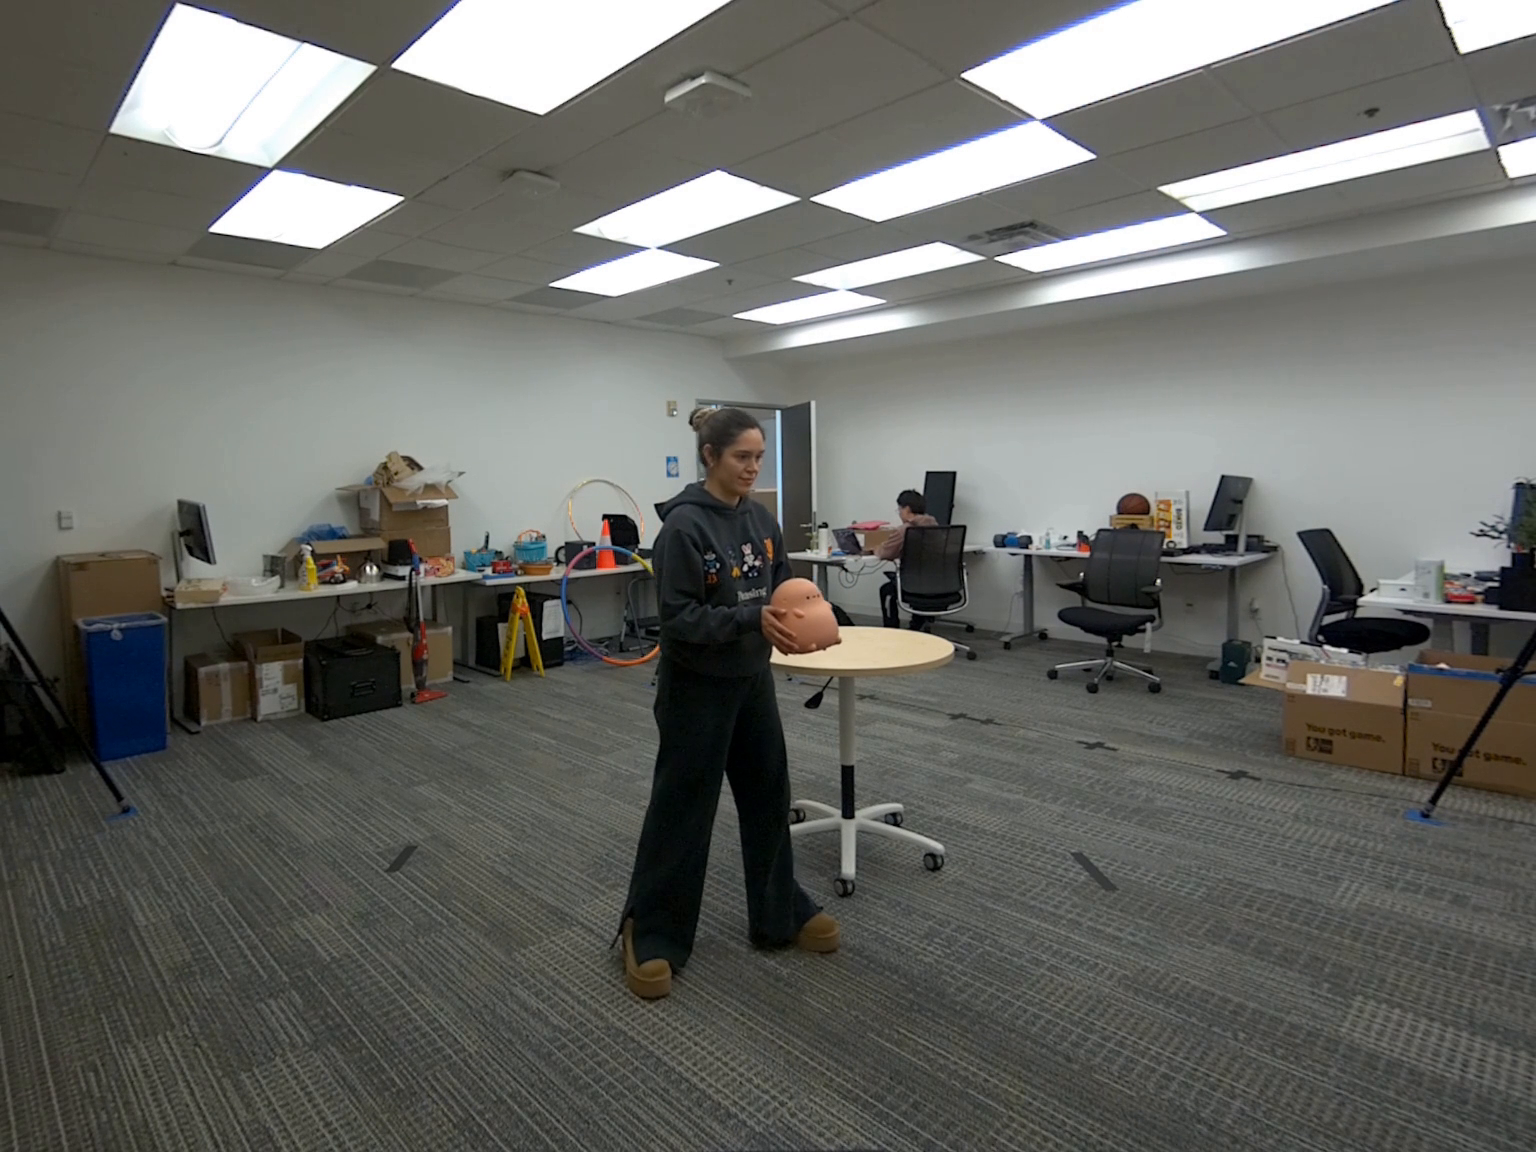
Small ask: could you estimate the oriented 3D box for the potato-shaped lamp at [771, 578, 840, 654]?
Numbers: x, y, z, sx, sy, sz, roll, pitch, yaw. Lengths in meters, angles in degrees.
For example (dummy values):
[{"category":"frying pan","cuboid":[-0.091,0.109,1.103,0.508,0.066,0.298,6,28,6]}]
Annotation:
[{"category":"potato-shaped lamp","cuboid":[0.075,0.101,2.254,0.161,0.199,0.175,-11,-3,-38]}]
